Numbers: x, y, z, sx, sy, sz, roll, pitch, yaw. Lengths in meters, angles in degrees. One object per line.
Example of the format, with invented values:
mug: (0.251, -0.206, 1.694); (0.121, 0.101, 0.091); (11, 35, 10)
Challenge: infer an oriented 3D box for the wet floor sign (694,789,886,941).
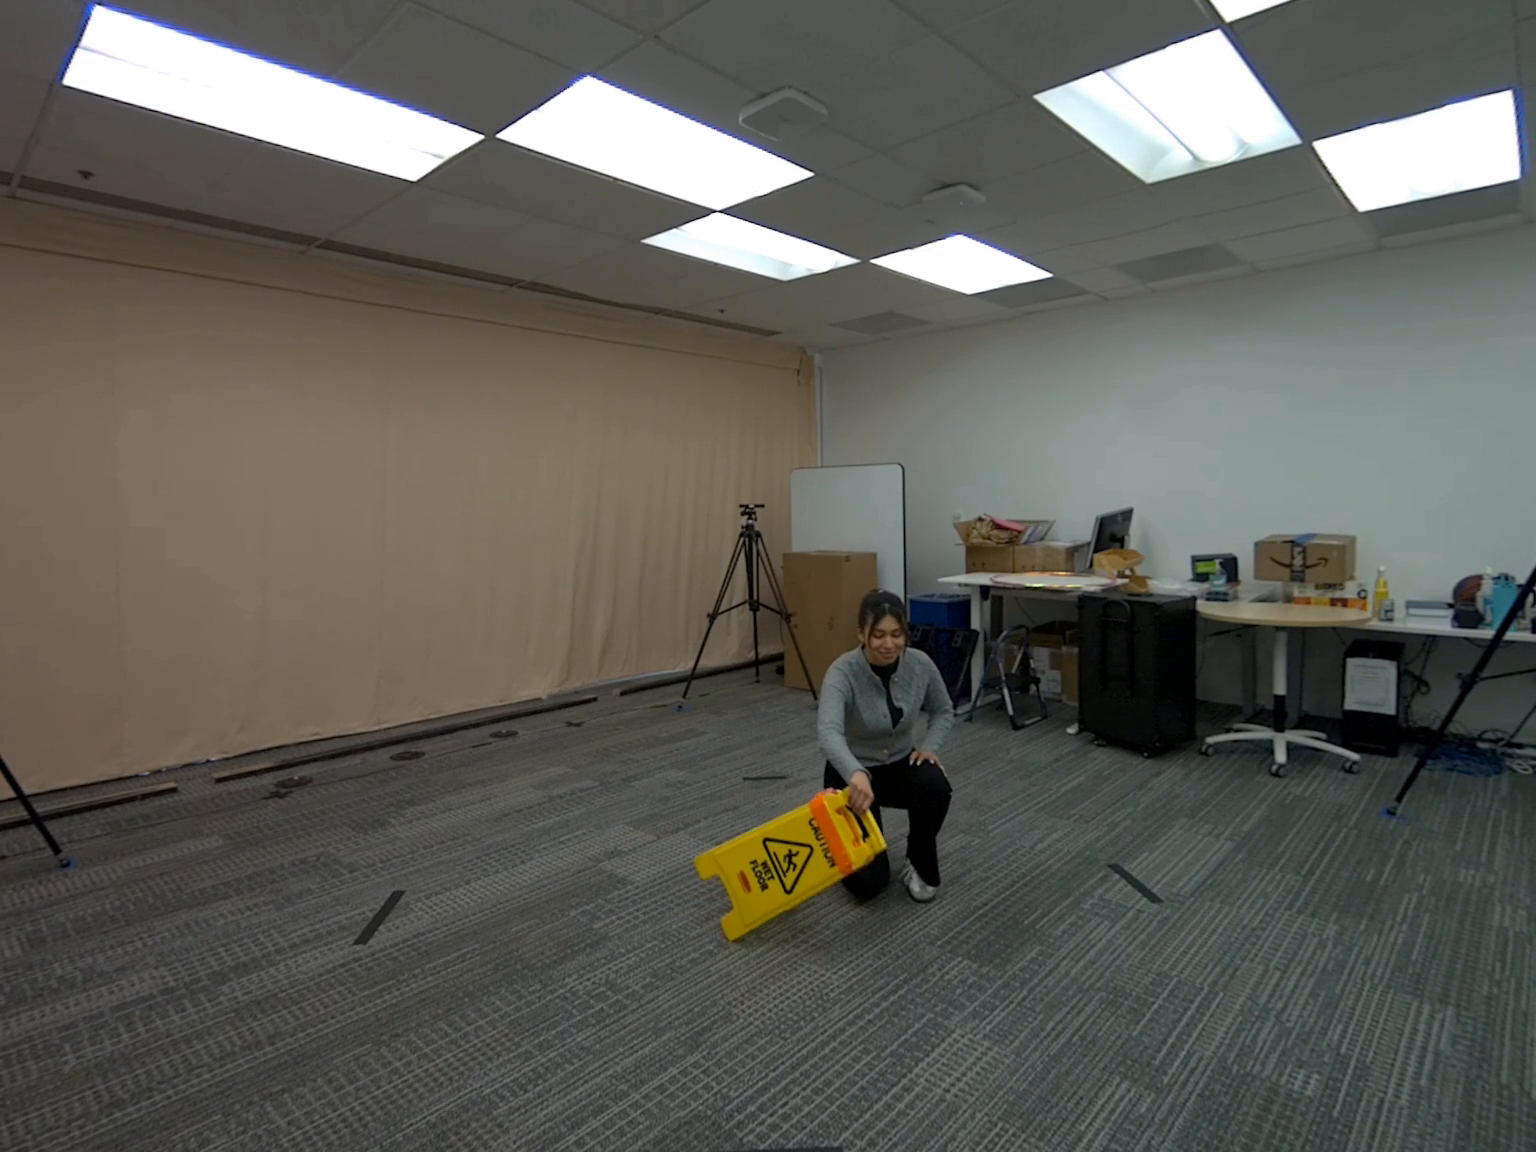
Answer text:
wet floor sign: (0.105, 0.875, 2.651); (0.281, 0.288, 0.653); (-4, -30, -47)
